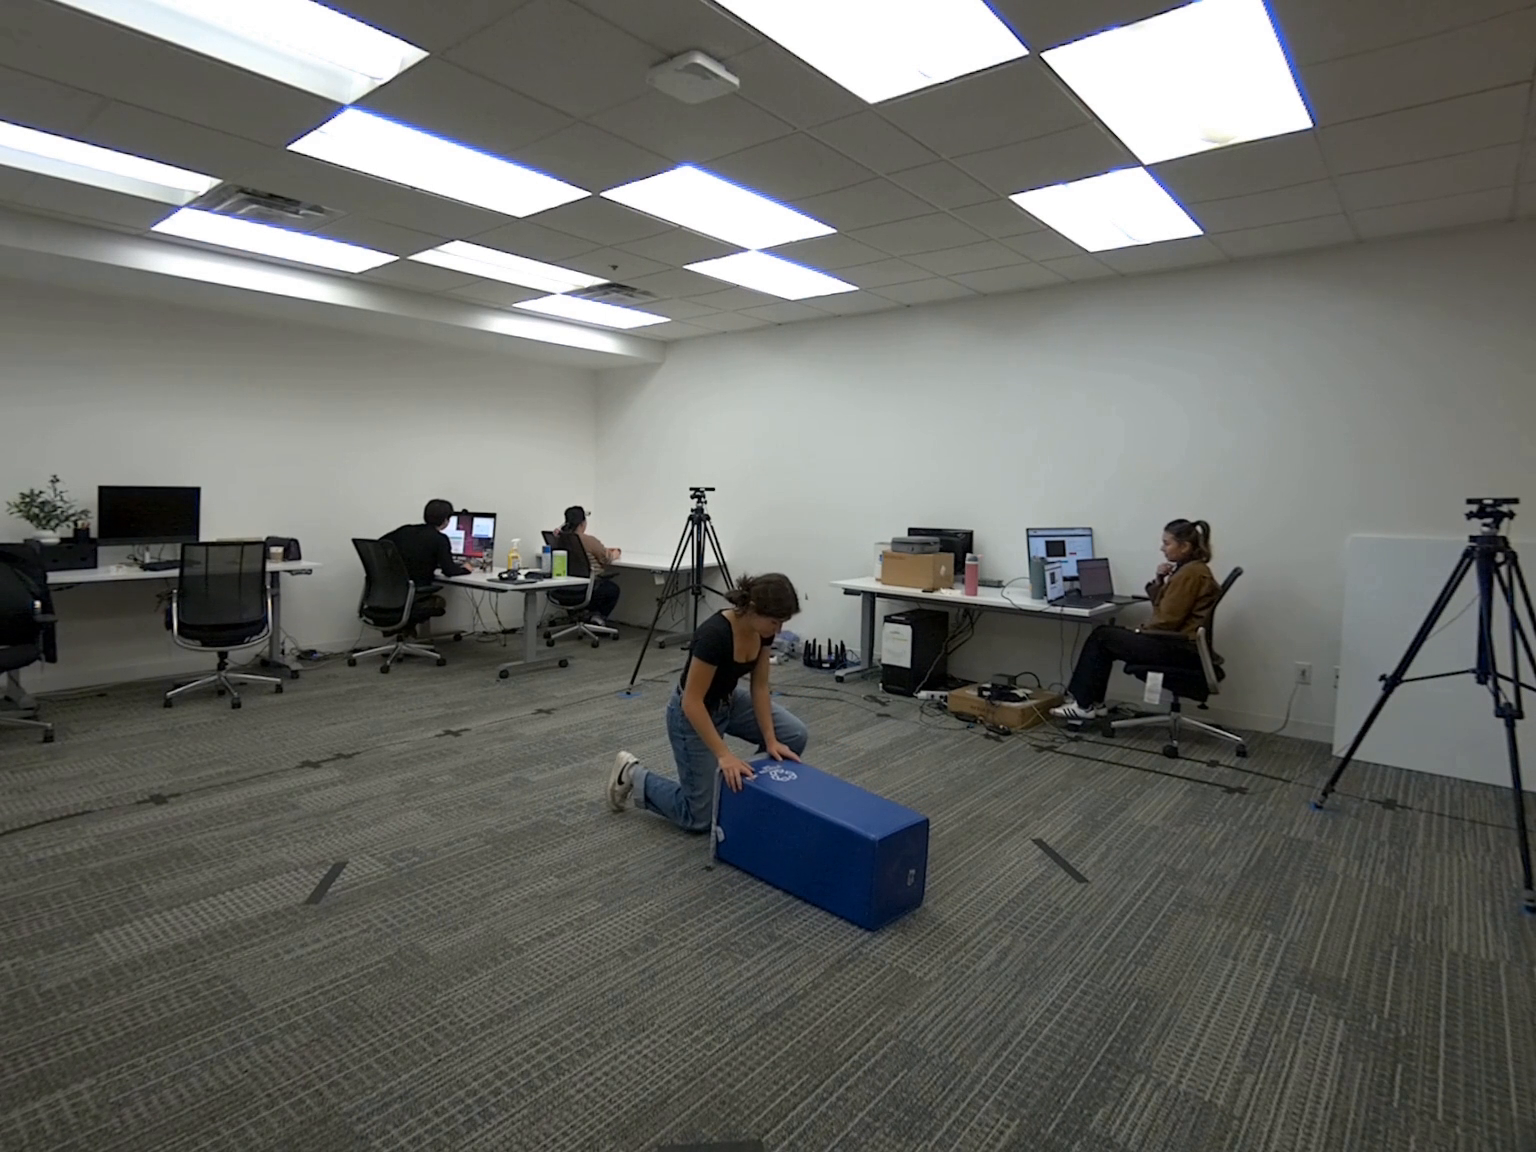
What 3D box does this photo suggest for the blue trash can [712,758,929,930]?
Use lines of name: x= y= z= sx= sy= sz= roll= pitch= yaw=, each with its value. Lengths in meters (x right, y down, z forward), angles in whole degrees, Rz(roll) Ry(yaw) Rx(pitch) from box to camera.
blue trash can: x=0.172 y=0.920 z=3.022 sx=0.739 sy=0.376 sz=0.362 roll=10 pitch=8 yaw=43
